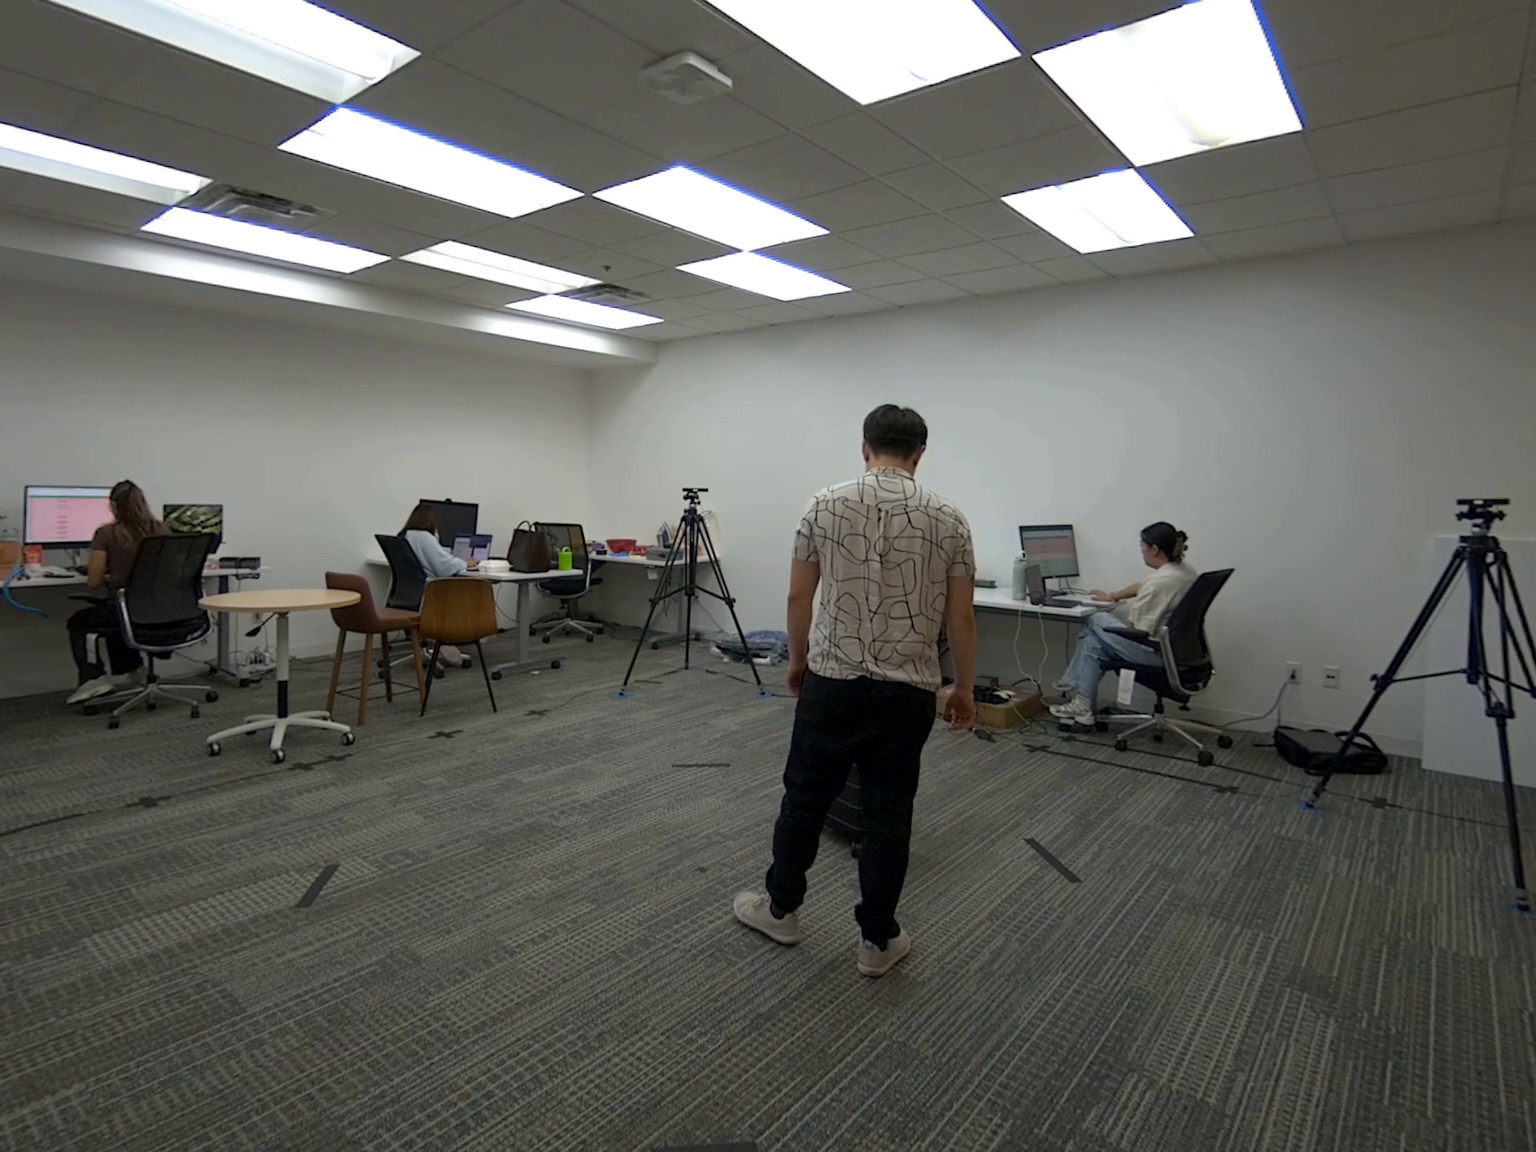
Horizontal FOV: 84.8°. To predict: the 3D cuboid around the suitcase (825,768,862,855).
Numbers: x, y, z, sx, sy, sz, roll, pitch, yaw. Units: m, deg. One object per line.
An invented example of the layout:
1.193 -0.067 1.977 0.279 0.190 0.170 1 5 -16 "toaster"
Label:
0.341 0.769 3.431 0.241 0.548 0.387 -1 4 -34 "suitcase"
